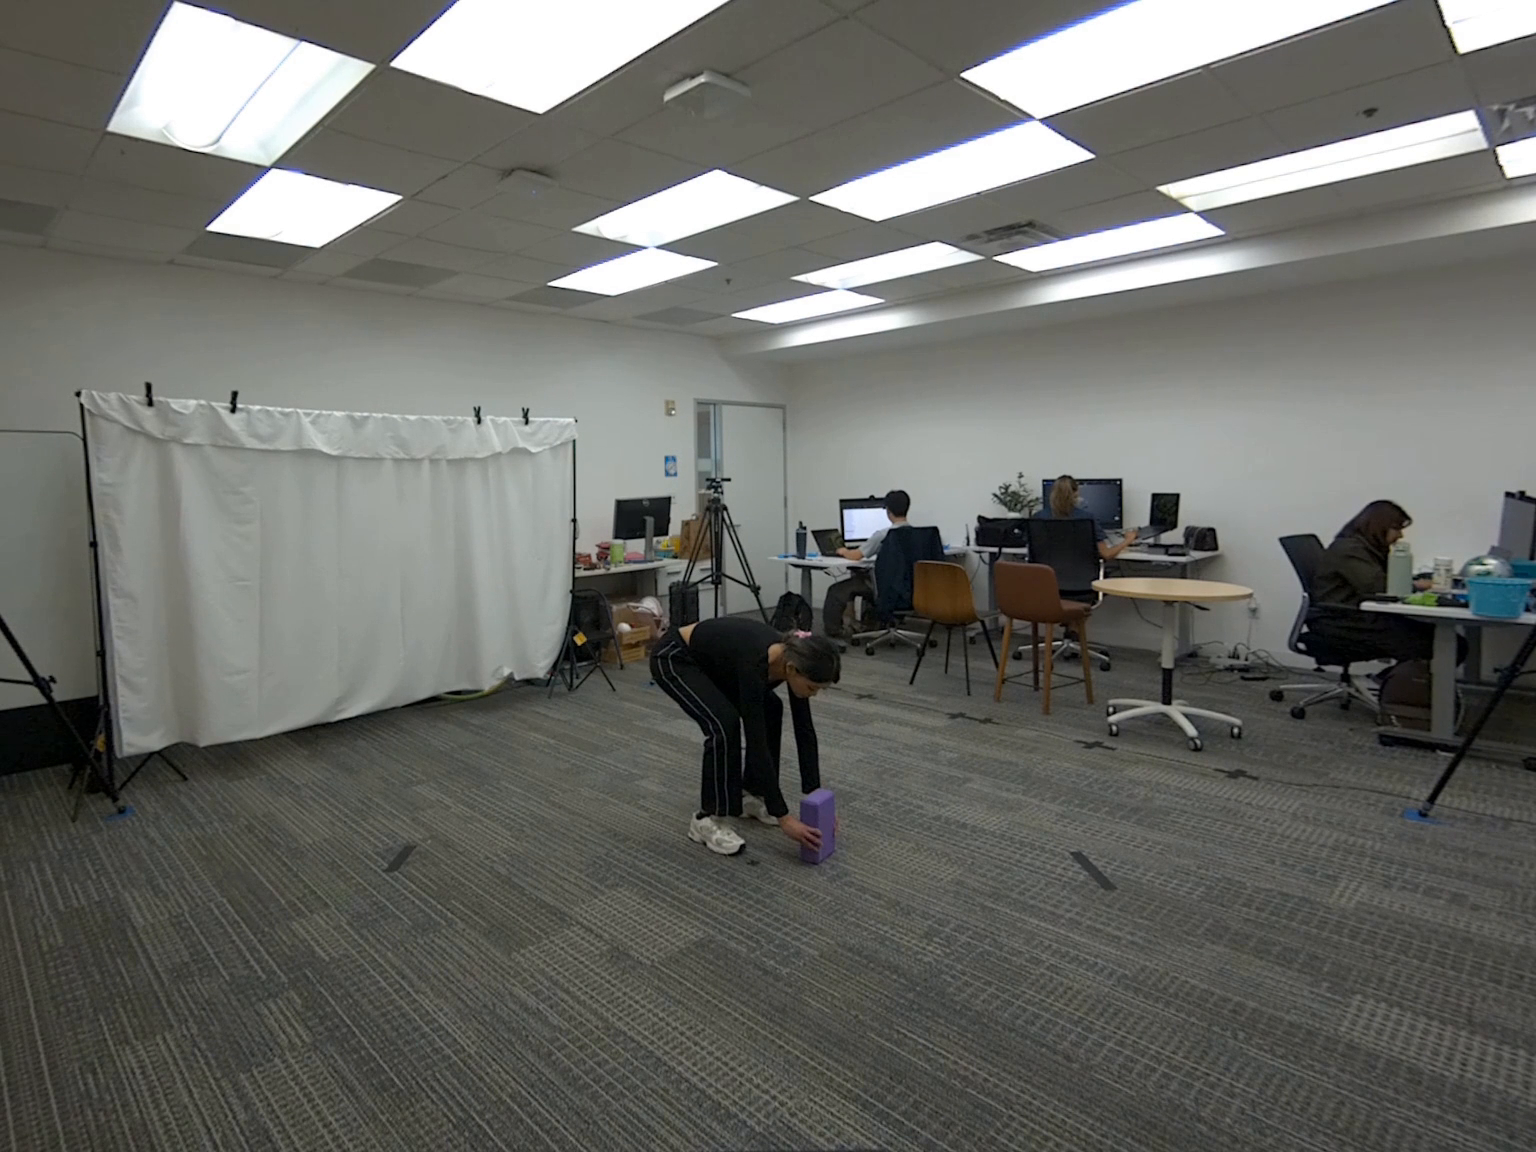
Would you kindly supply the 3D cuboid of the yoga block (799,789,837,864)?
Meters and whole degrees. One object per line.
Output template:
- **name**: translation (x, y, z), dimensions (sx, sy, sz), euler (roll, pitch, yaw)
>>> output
- **yoga block**: translation (0.184, 0.920, 3.144), dimensions (0.078, 0.228, 0.146), euler (7, 8, 28)
